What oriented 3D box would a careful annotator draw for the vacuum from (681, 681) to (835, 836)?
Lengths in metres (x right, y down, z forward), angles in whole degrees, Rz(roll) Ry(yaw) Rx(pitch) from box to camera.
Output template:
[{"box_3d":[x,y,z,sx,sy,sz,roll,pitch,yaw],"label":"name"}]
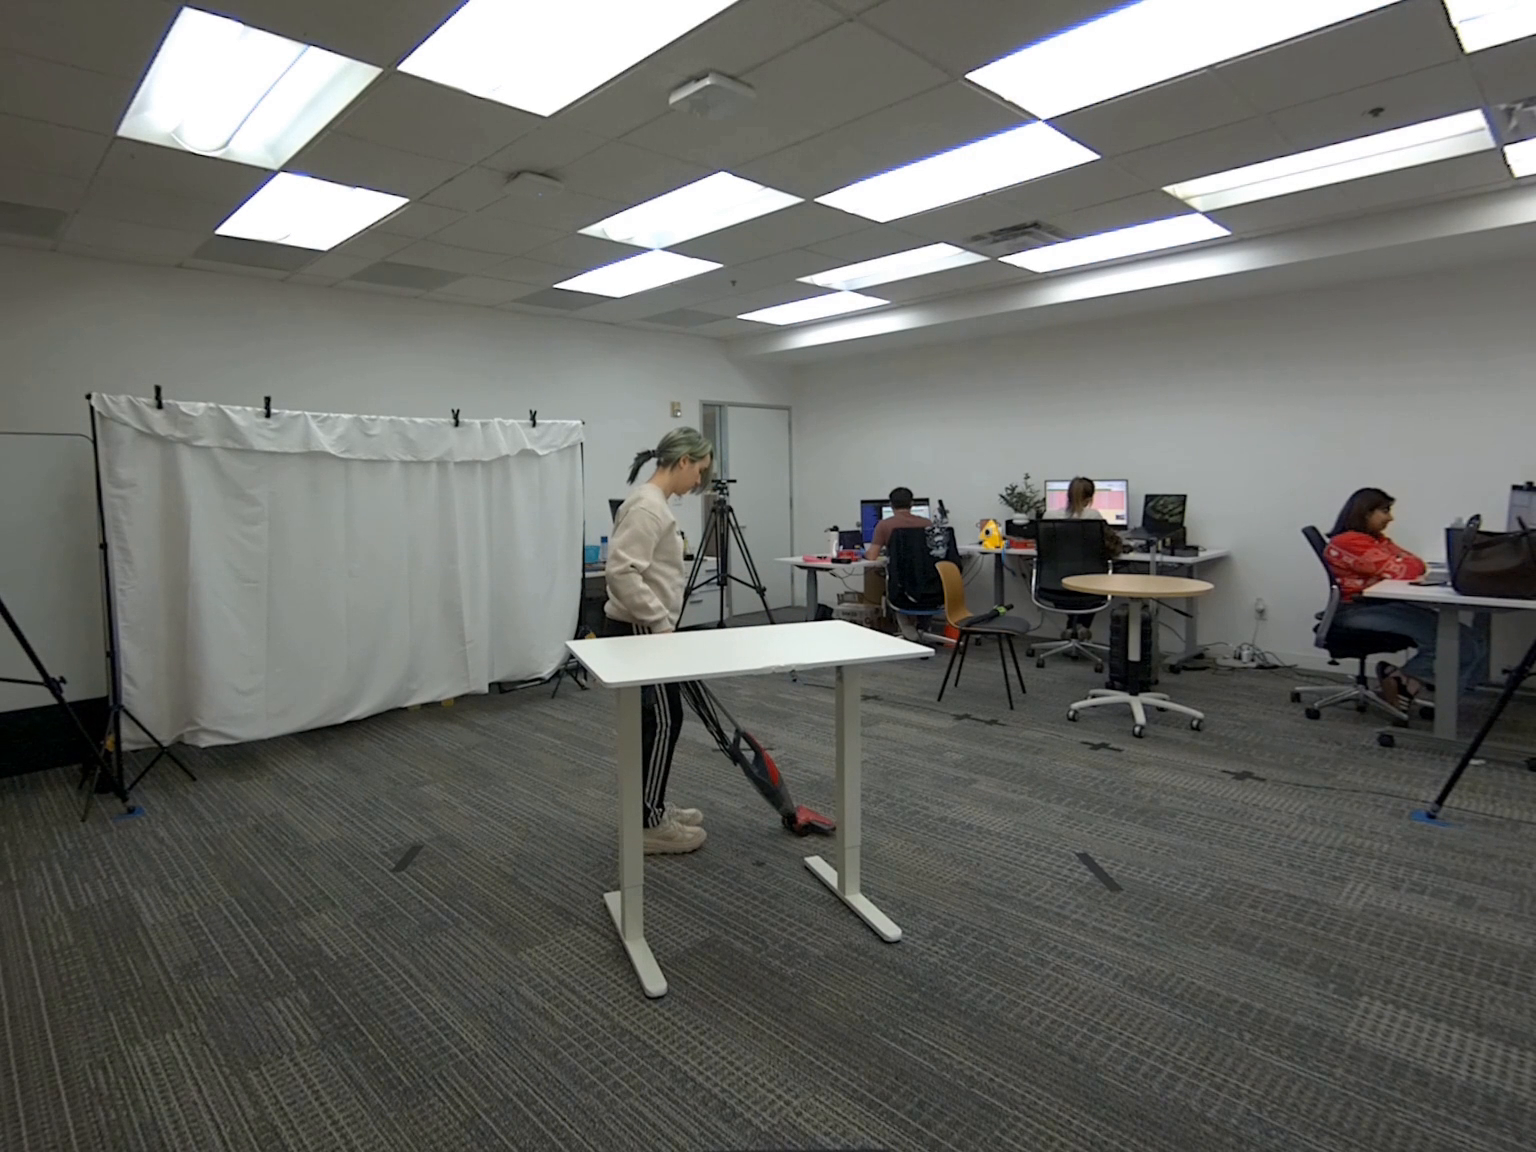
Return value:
[{"box_3d":[-0.125,0.620,3.237,0.144,1.022,0.259,-49,24,-26],"label":"vacuum"}]
